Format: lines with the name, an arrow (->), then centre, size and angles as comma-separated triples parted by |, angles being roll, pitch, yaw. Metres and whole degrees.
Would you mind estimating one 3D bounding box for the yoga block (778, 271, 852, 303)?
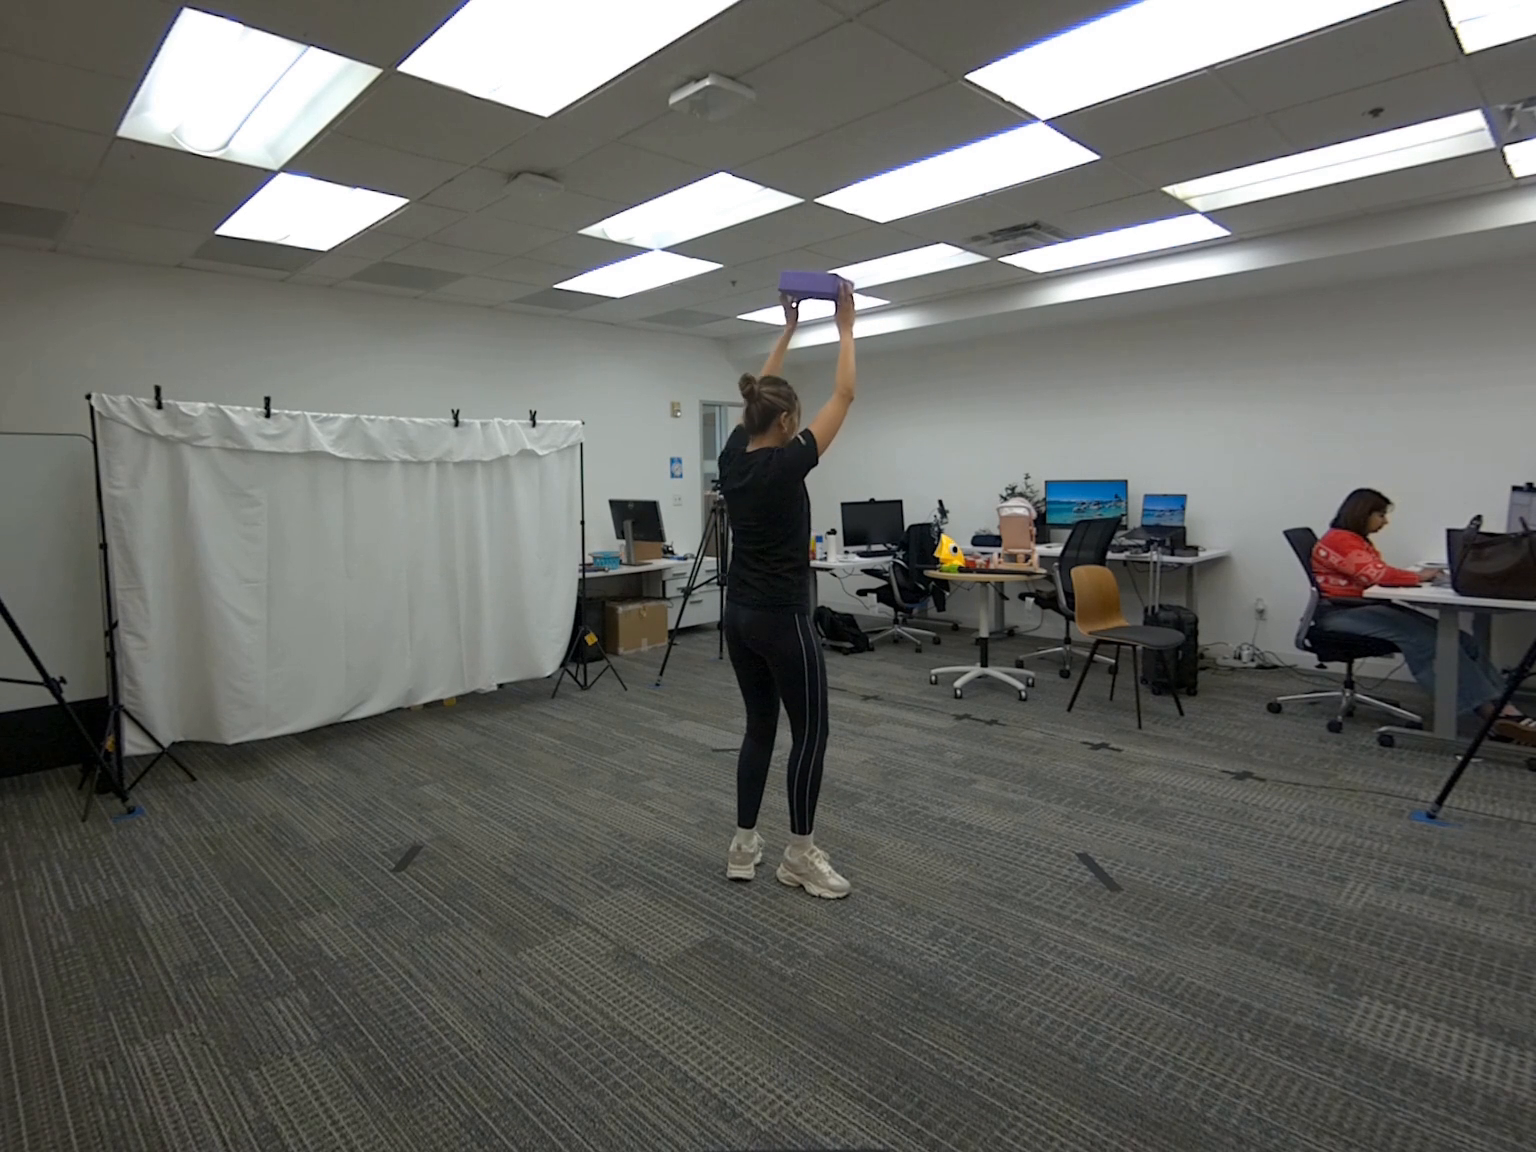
yoga block -> 0.172, -1.023, 3.009 | 0.237, 0.076, 0.145 | 16, 10, 31
